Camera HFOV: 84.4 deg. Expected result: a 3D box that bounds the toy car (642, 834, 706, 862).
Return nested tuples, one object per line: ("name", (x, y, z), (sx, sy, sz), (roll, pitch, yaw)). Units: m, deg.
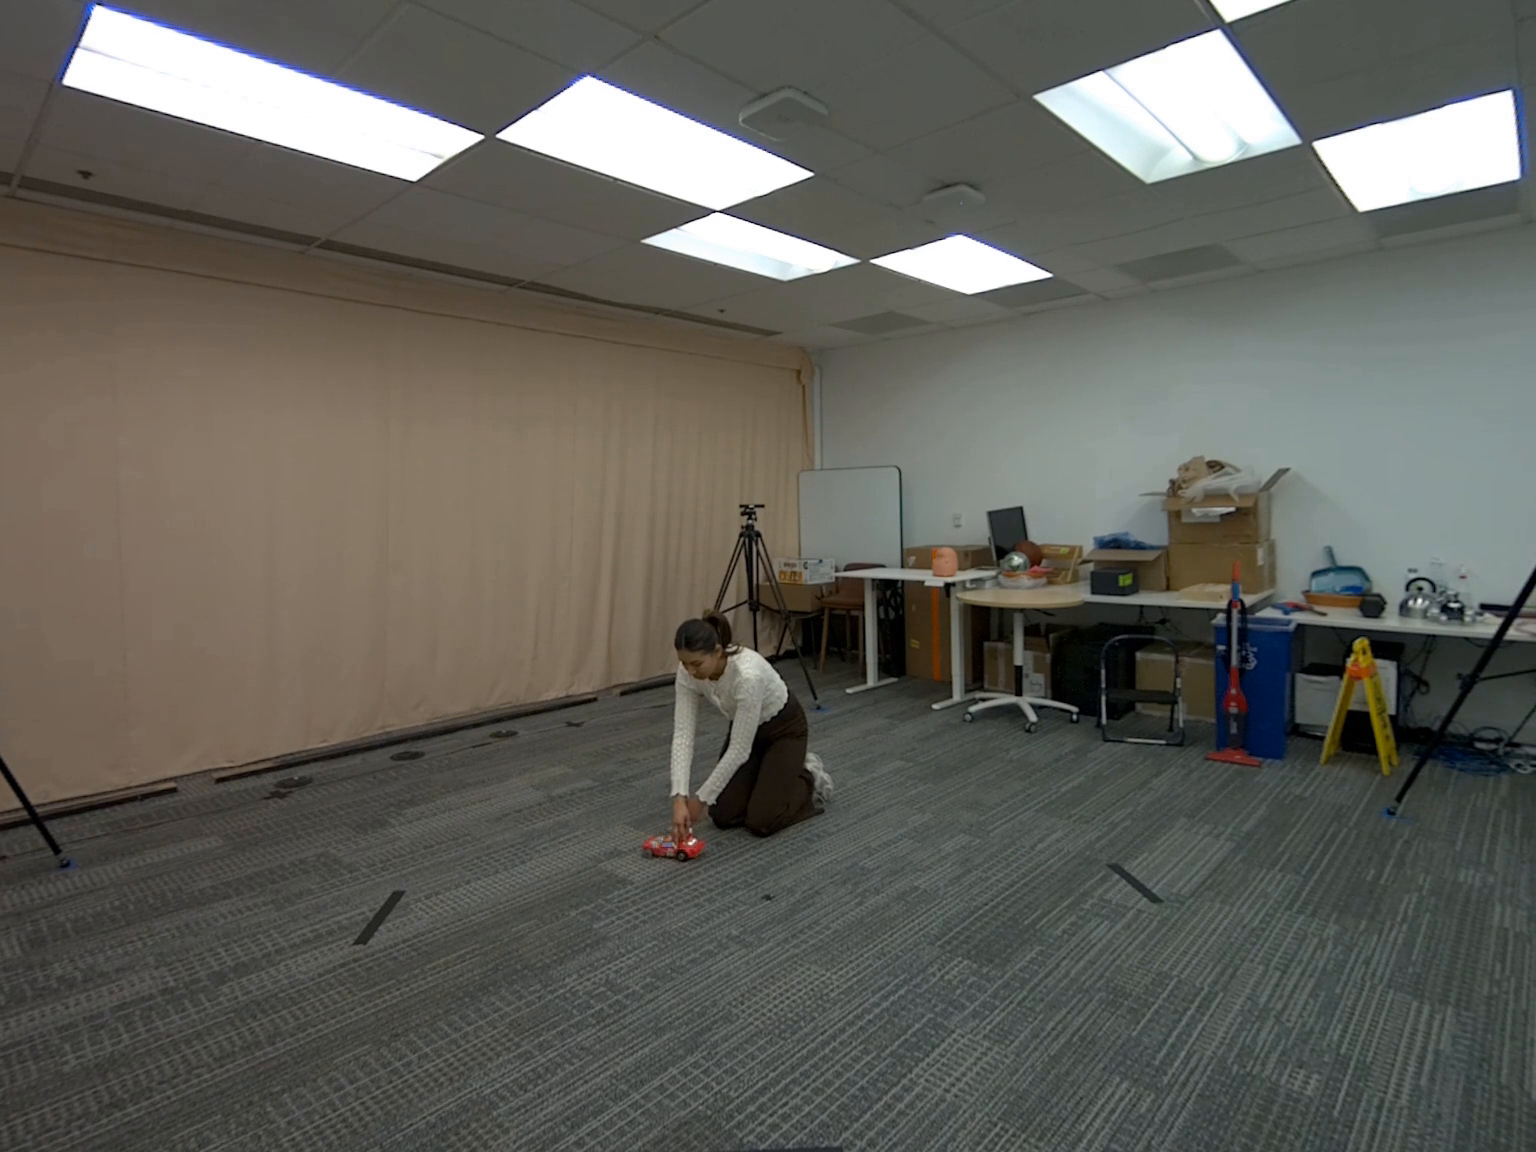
("toy car", (-0.374, 1.085, 3.366), (0.259, 0.083, 0.128), (-11, 2, 20))
